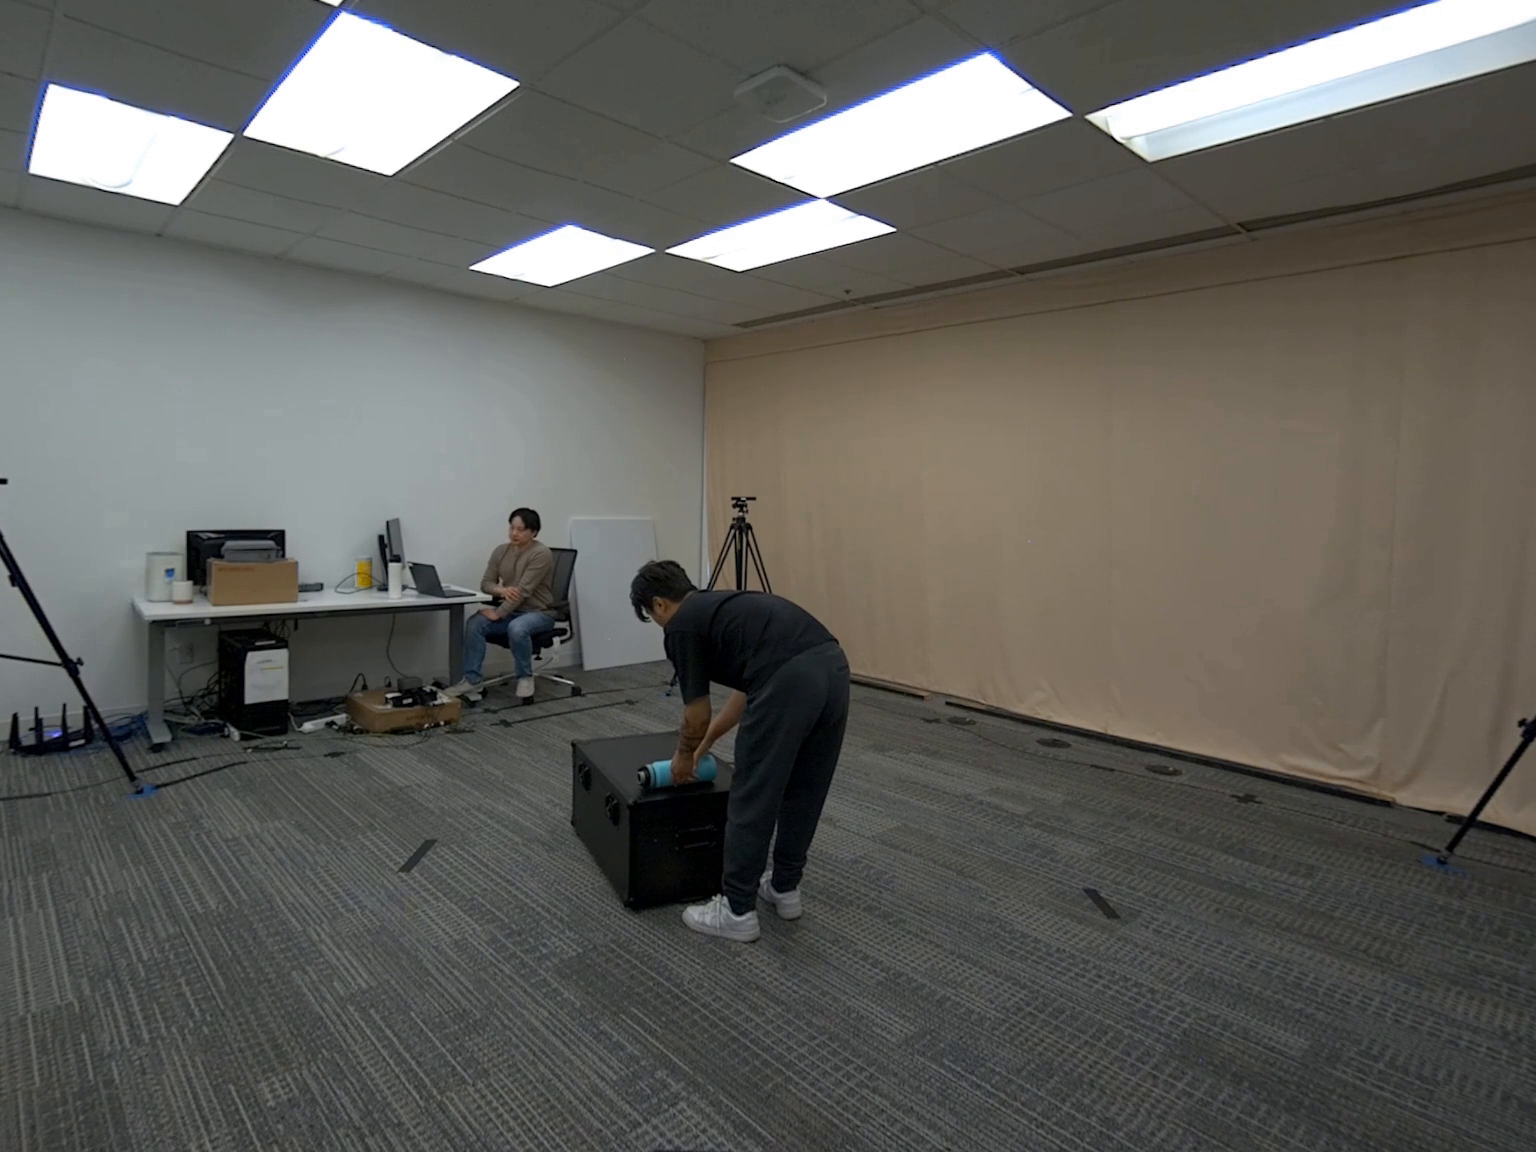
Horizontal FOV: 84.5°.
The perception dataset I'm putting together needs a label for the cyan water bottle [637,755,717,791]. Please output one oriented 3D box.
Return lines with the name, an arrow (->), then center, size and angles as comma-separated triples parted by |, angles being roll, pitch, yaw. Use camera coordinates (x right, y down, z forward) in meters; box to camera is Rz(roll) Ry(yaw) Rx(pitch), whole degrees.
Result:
cyan water bottle -> -0.329, 0.692, 2.970 | 0.278, 0.092, 0.094 | -2, 5, -25
